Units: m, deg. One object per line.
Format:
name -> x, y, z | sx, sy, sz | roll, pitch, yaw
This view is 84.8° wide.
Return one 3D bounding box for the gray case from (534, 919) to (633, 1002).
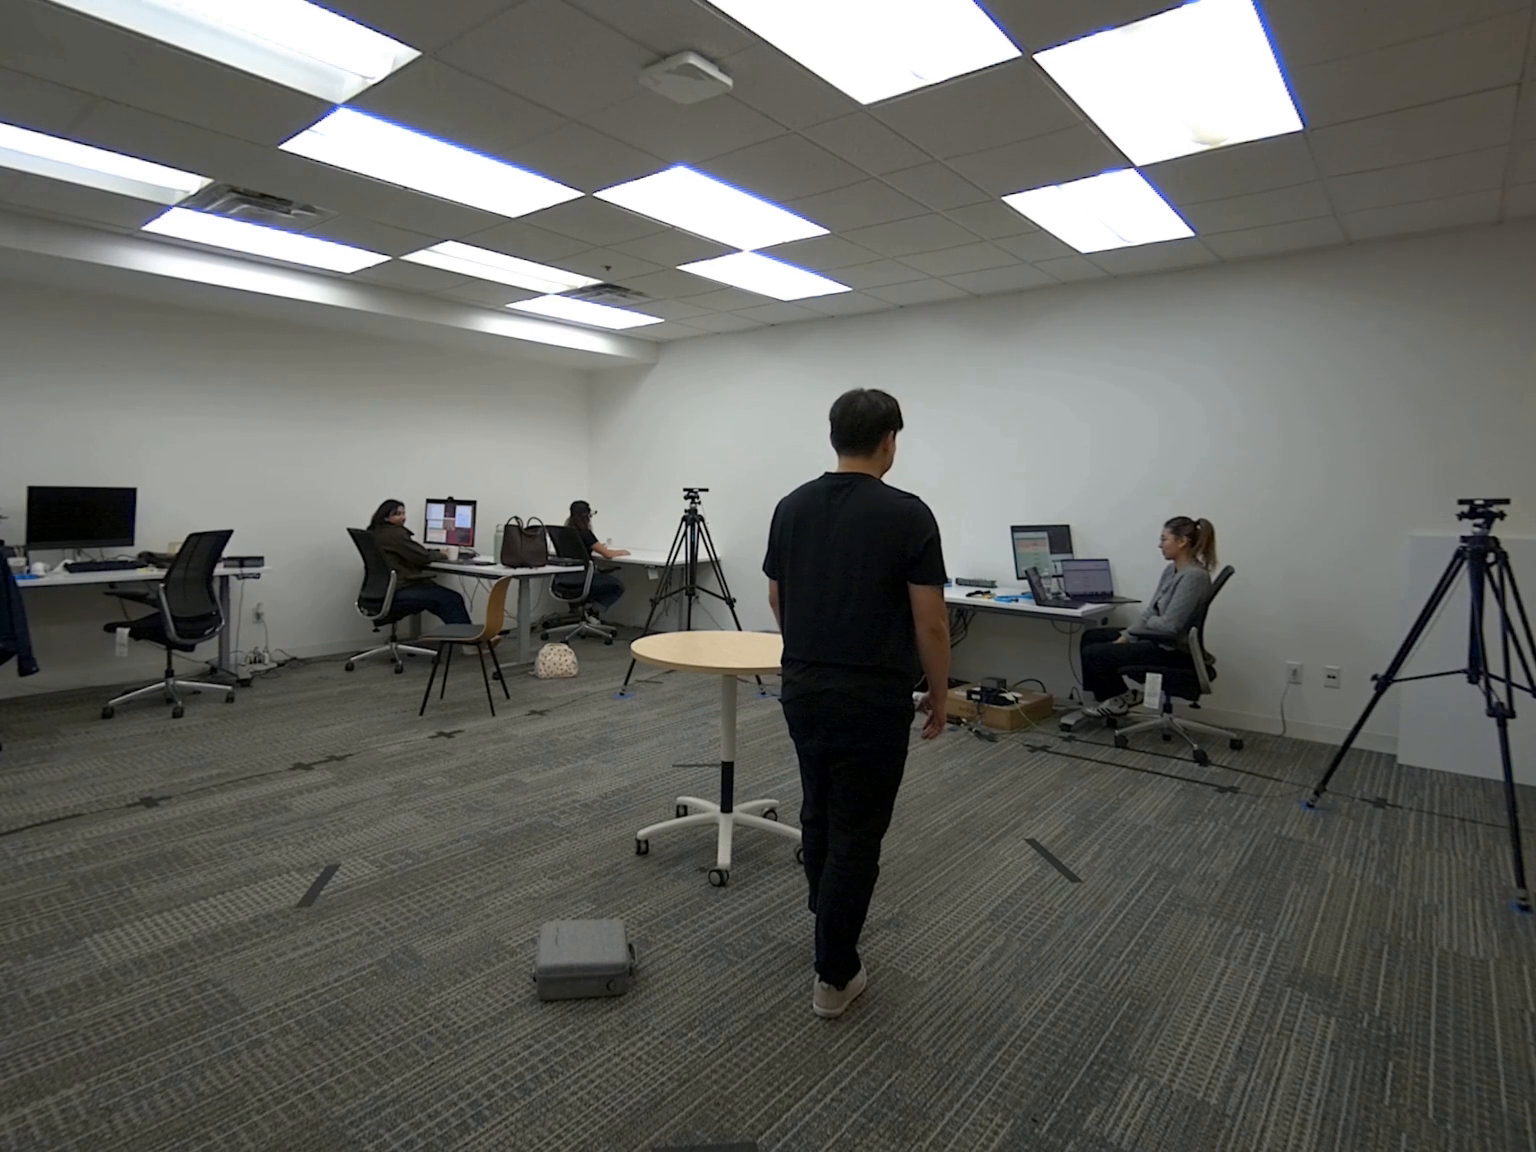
gray case -> -0.537, 1.078, 2.413 | 0.258, 0.104, 0.261 | 0, 6, -11
